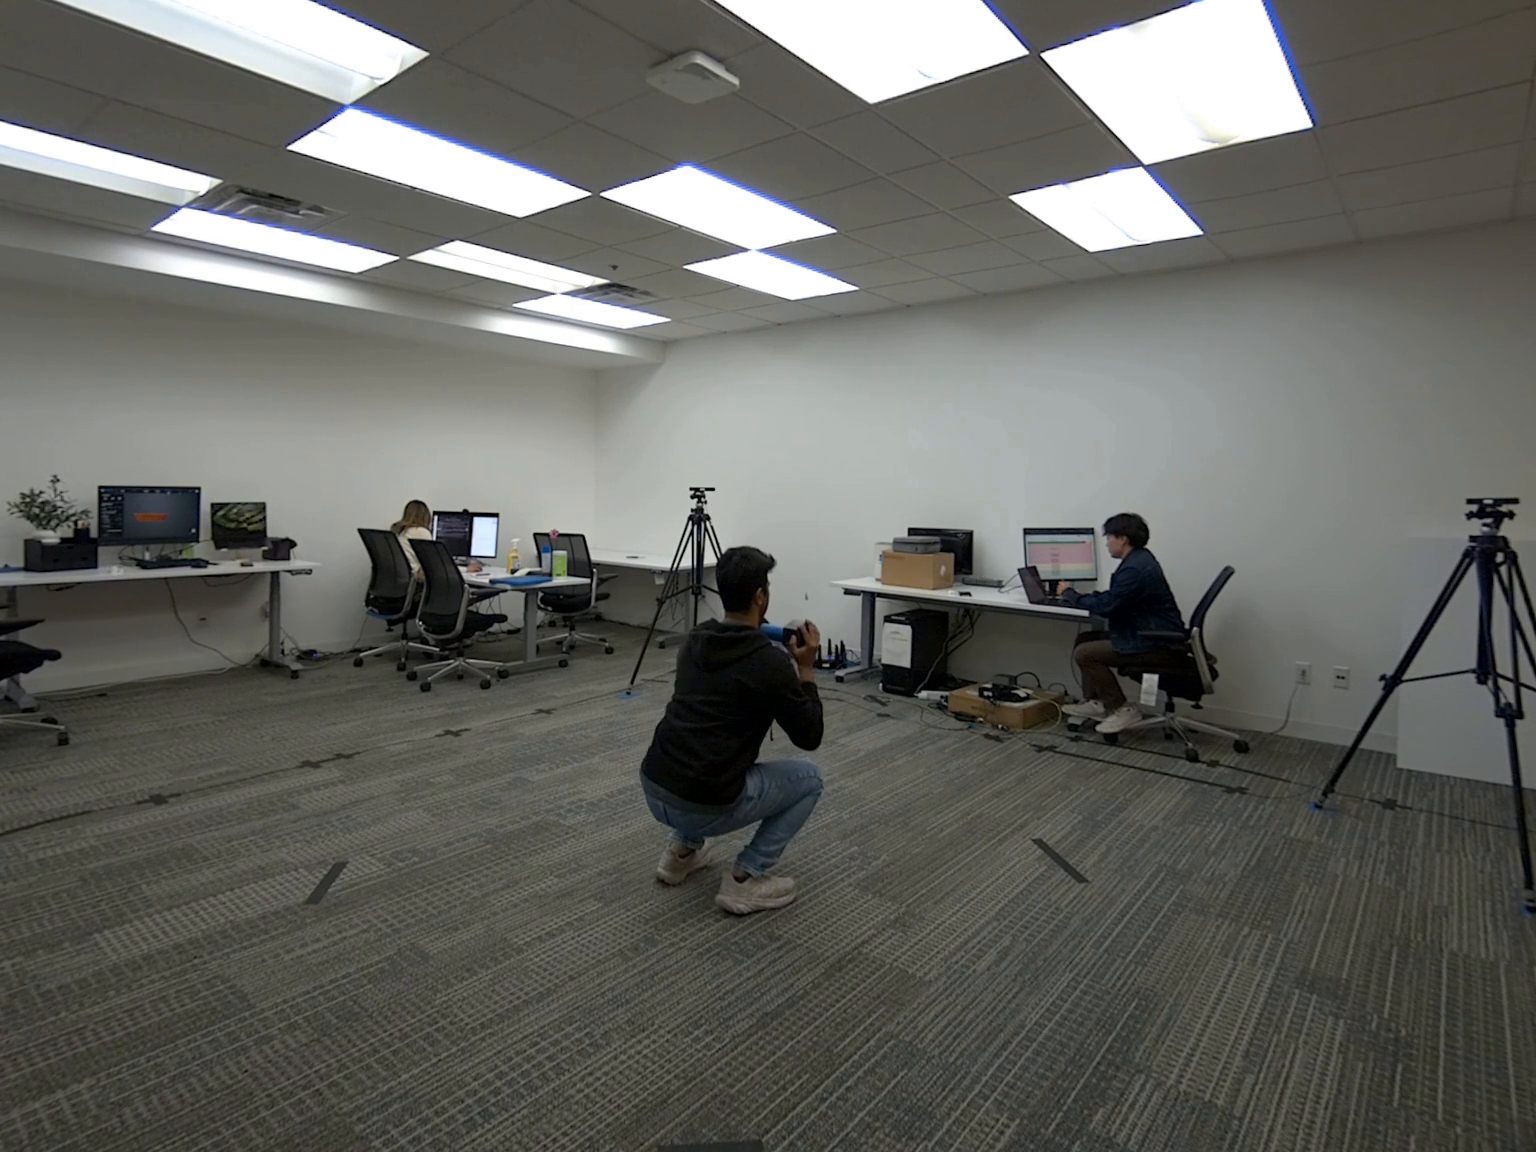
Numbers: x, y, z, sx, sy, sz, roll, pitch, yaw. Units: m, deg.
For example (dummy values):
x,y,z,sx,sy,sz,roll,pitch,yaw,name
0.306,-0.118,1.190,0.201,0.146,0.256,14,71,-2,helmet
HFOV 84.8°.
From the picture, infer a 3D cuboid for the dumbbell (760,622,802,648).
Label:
x,y,z,sx,sy,sz,roll,pitch,yaw,name
0.010,0.201,3.119,0.303,0.123,0.105,5,0,40,dumbbell
